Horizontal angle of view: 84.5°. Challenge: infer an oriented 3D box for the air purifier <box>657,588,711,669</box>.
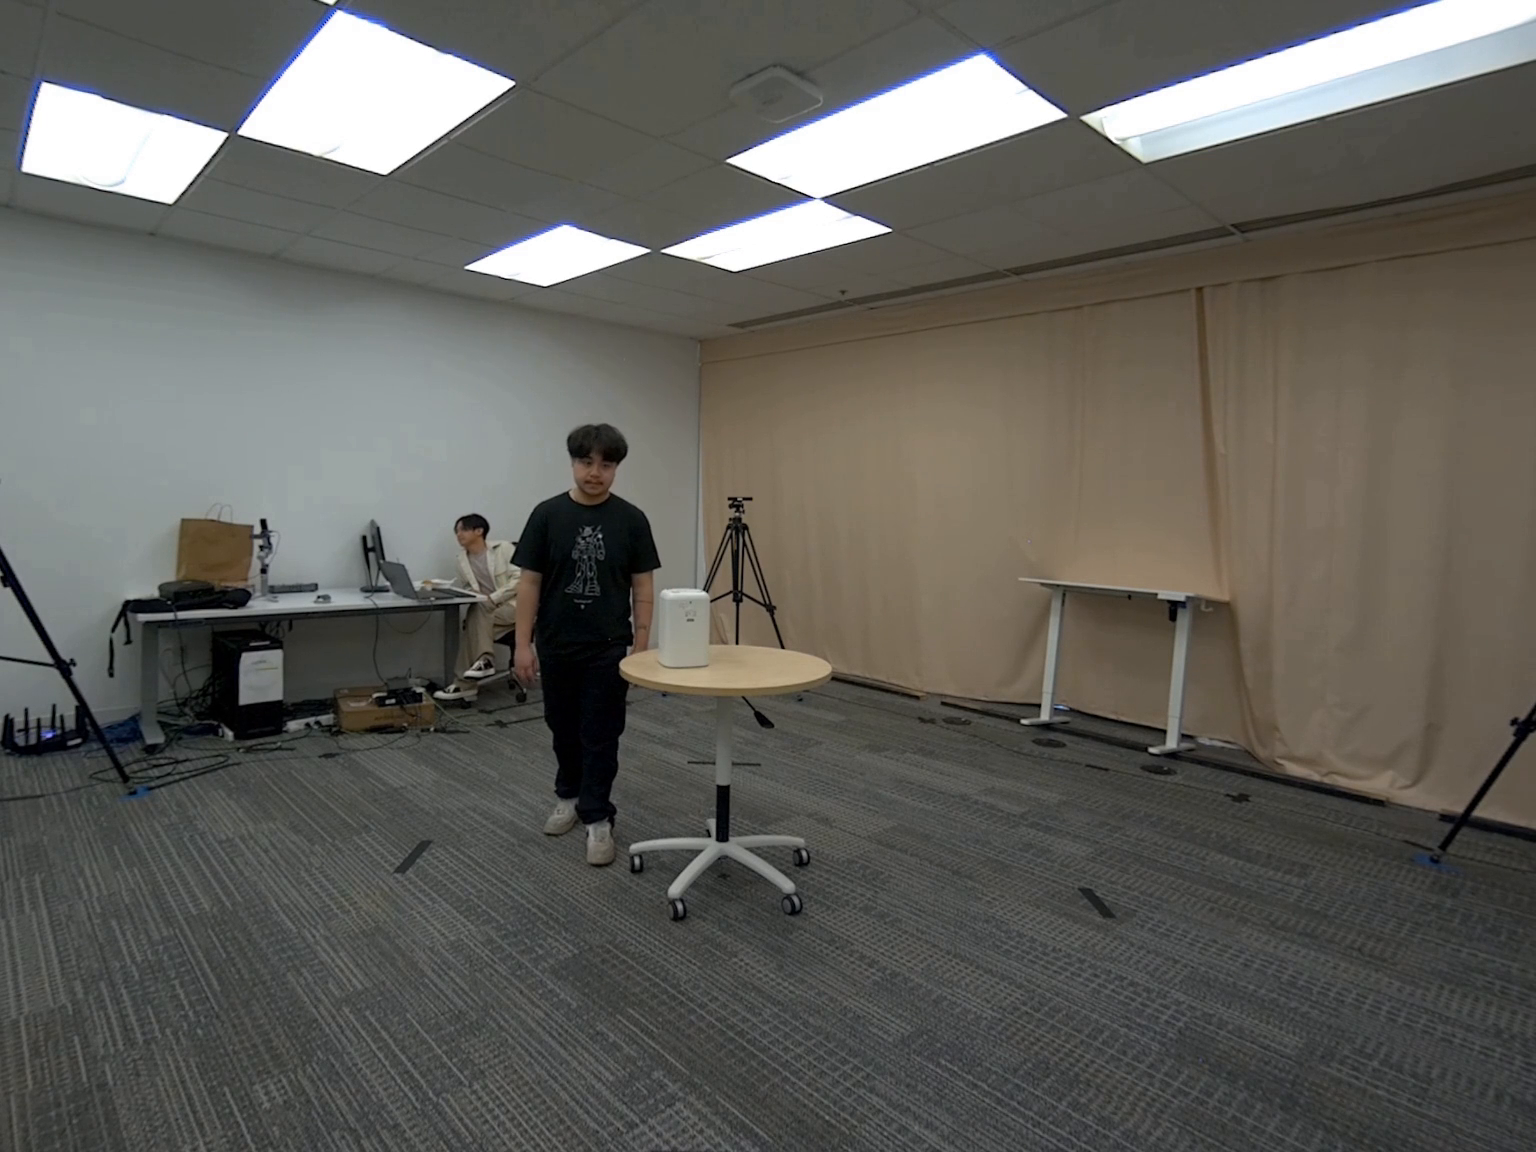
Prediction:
[{"bbox_3d":[-0.313,0.184,3.032,0.168,0.264,0.175,-2,5,-21],"label":"air purifier"}]
